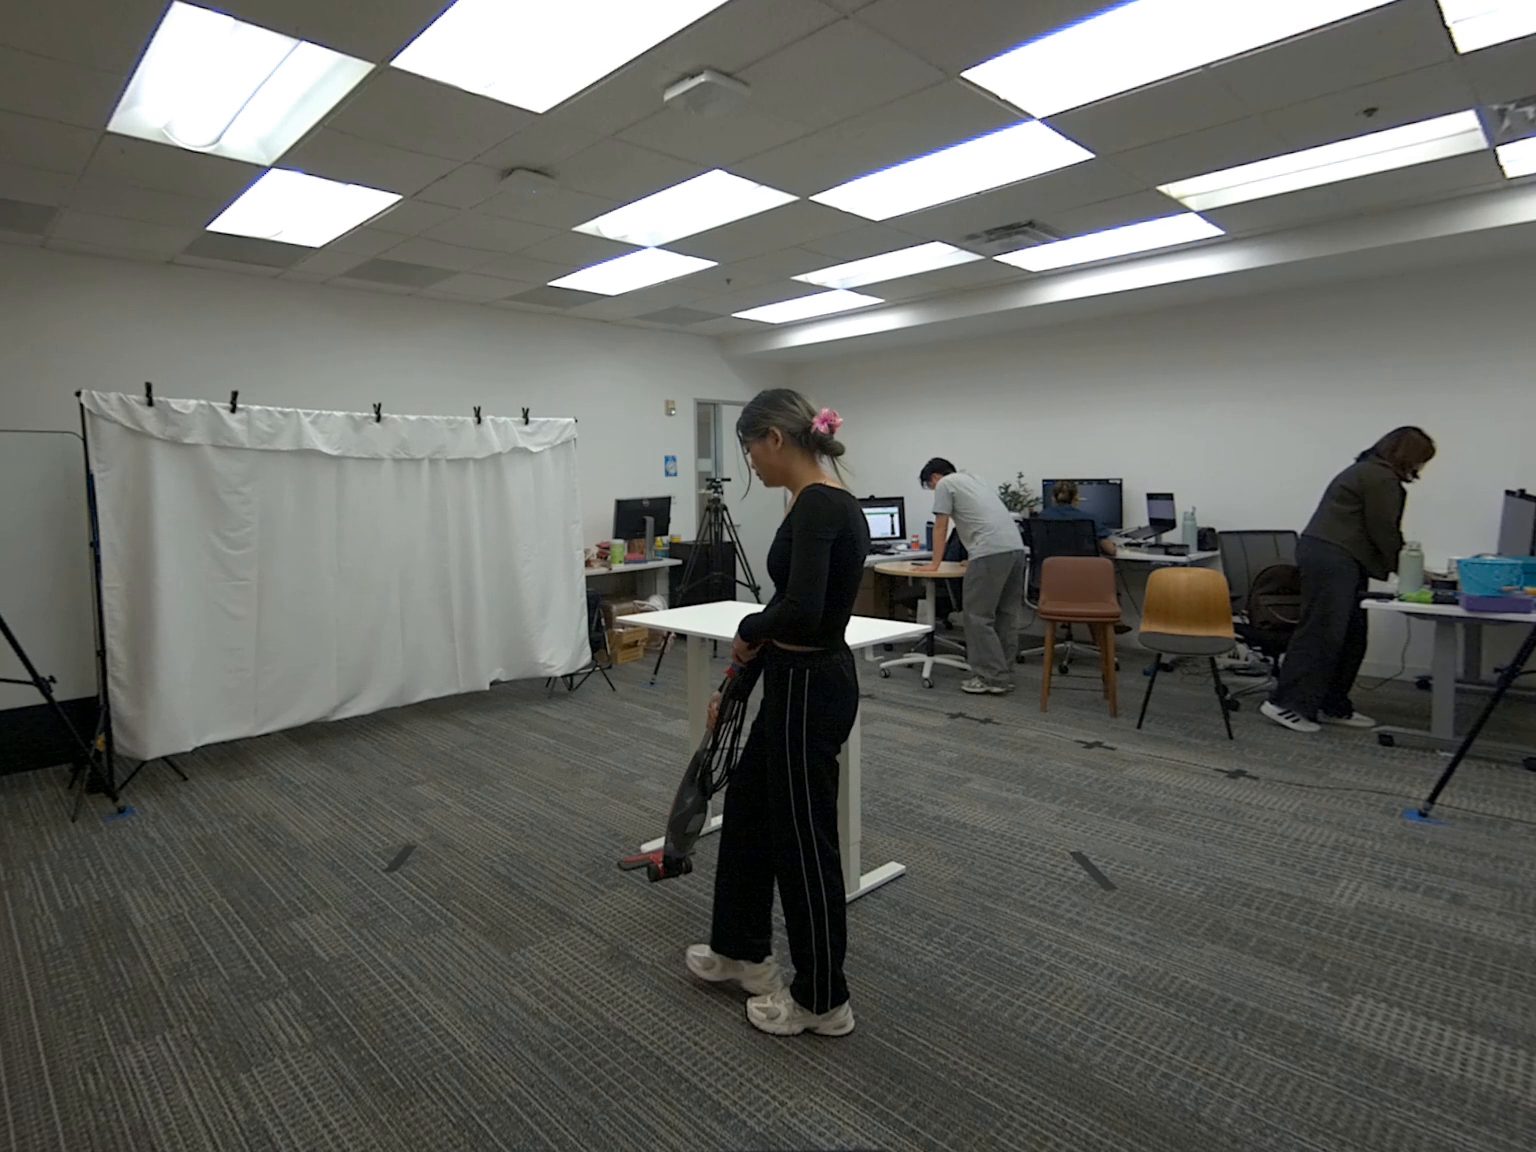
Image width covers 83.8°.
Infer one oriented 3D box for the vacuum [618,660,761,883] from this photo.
[{"bbox_3d":[-0.176,0.524,2.355,0.247,1.033,0.149,-12,46,-36],"label":"vacuum"}]
